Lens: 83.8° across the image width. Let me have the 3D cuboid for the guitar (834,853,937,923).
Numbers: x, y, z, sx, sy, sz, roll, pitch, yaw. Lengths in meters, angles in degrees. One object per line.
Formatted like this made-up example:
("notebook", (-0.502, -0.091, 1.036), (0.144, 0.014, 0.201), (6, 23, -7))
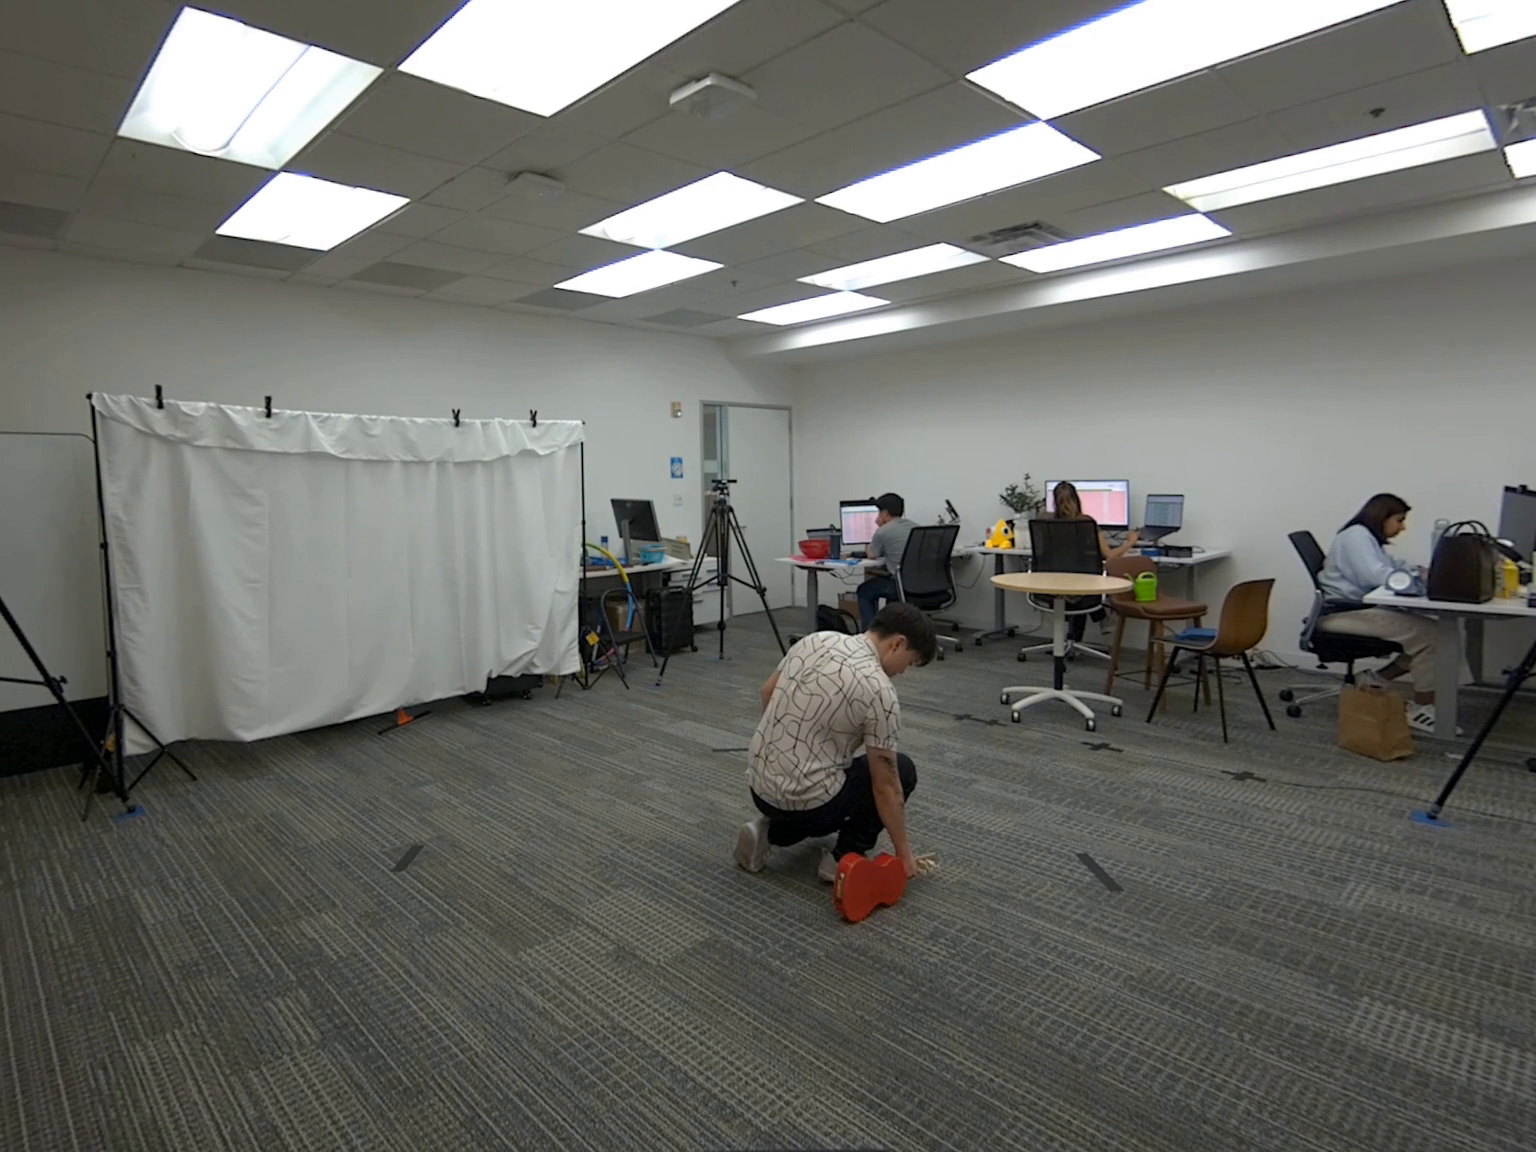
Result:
("guitar", (0.416, 0.960, 2.813), (0.485, 0.192, 0.073), (-7, 7, -36))
